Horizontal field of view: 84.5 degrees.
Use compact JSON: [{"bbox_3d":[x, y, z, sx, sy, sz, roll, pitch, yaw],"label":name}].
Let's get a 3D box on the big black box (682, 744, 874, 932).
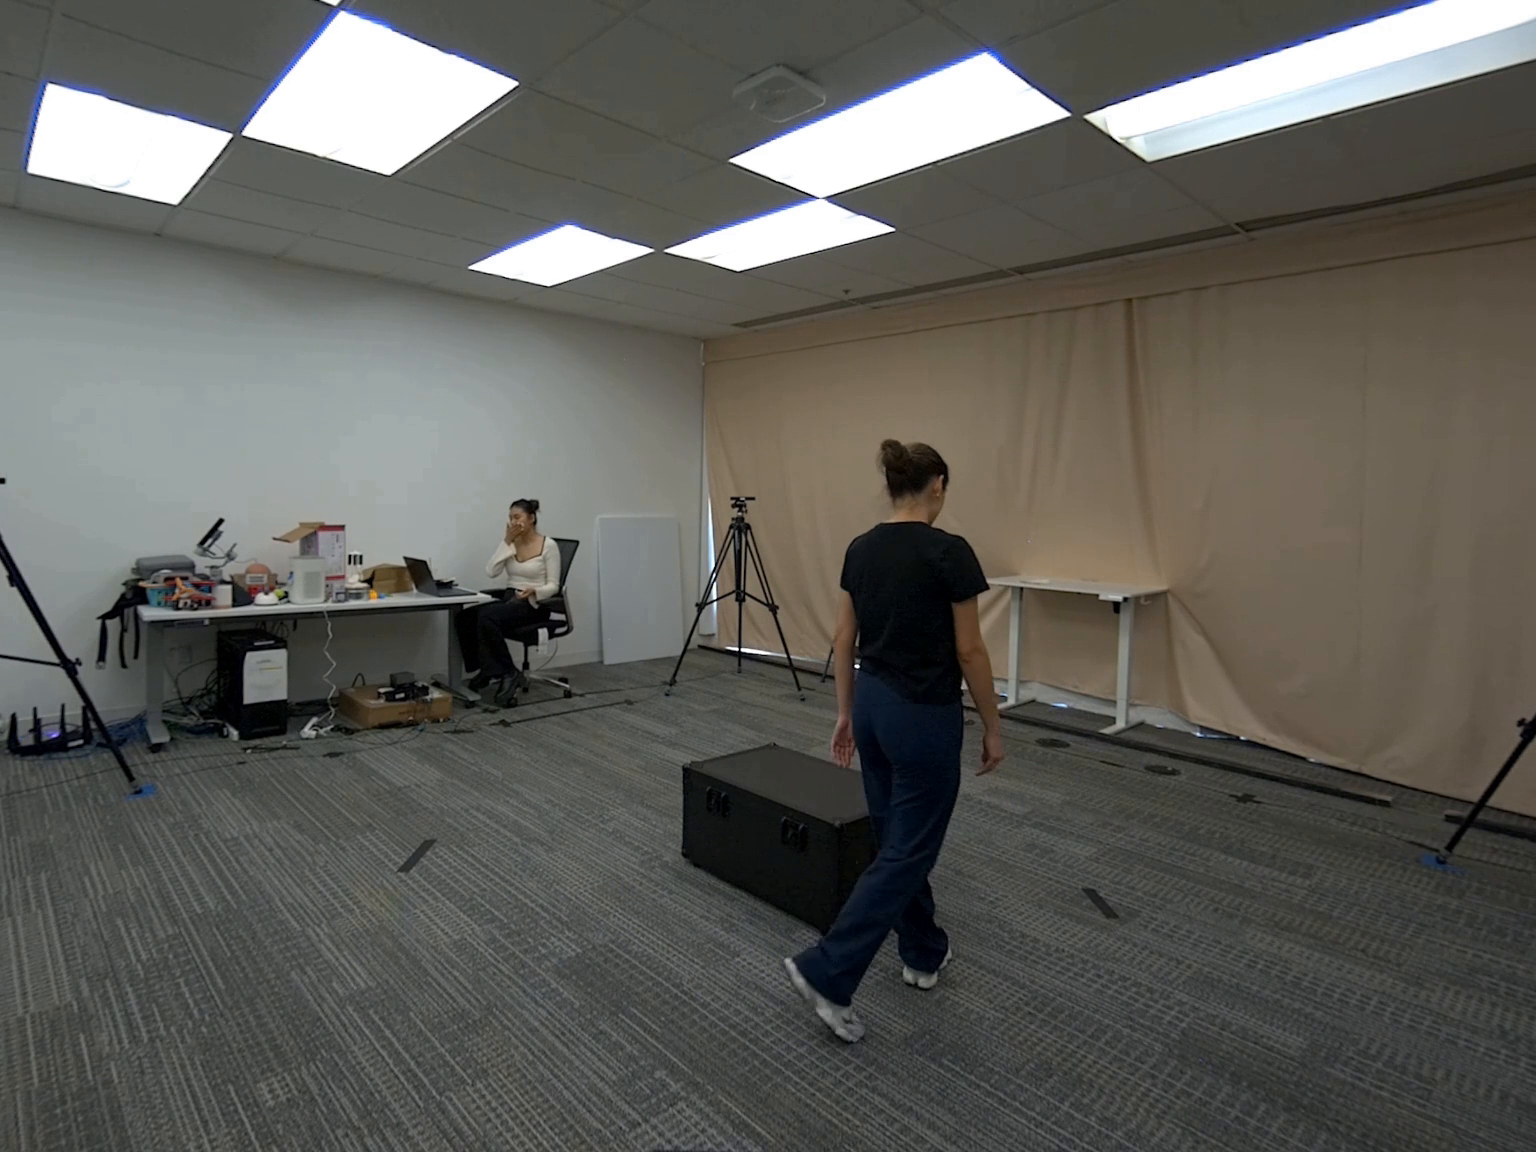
[{"bbox_3d":[0.095,0.925,3.088,0.509,0.395,0.884,-3,7,-44],"label":"big black box"}]
